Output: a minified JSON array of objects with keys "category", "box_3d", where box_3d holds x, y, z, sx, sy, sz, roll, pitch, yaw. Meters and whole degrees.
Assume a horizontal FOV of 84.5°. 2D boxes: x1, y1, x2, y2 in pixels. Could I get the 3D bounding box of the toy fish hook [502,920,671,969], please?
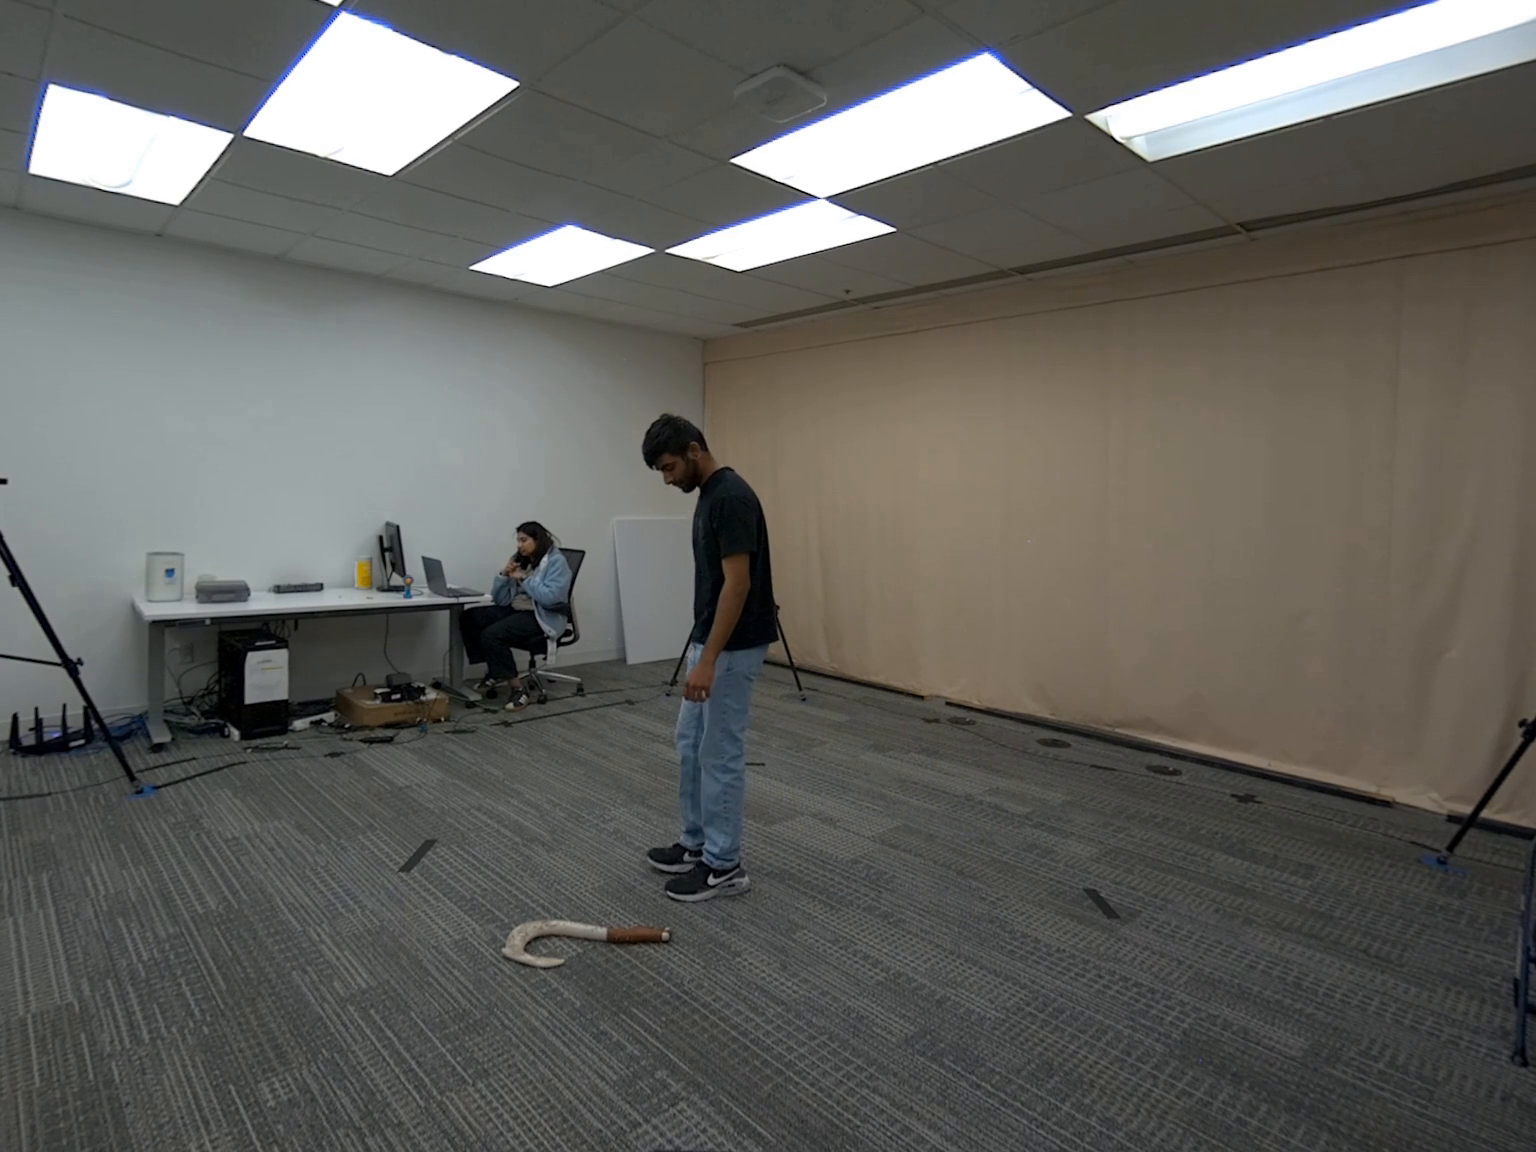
[{"category":"toy fish hook","box_3d":[-0.555,1.131,2.577,0.506,0.048,0.227,1,13,-1]}]
